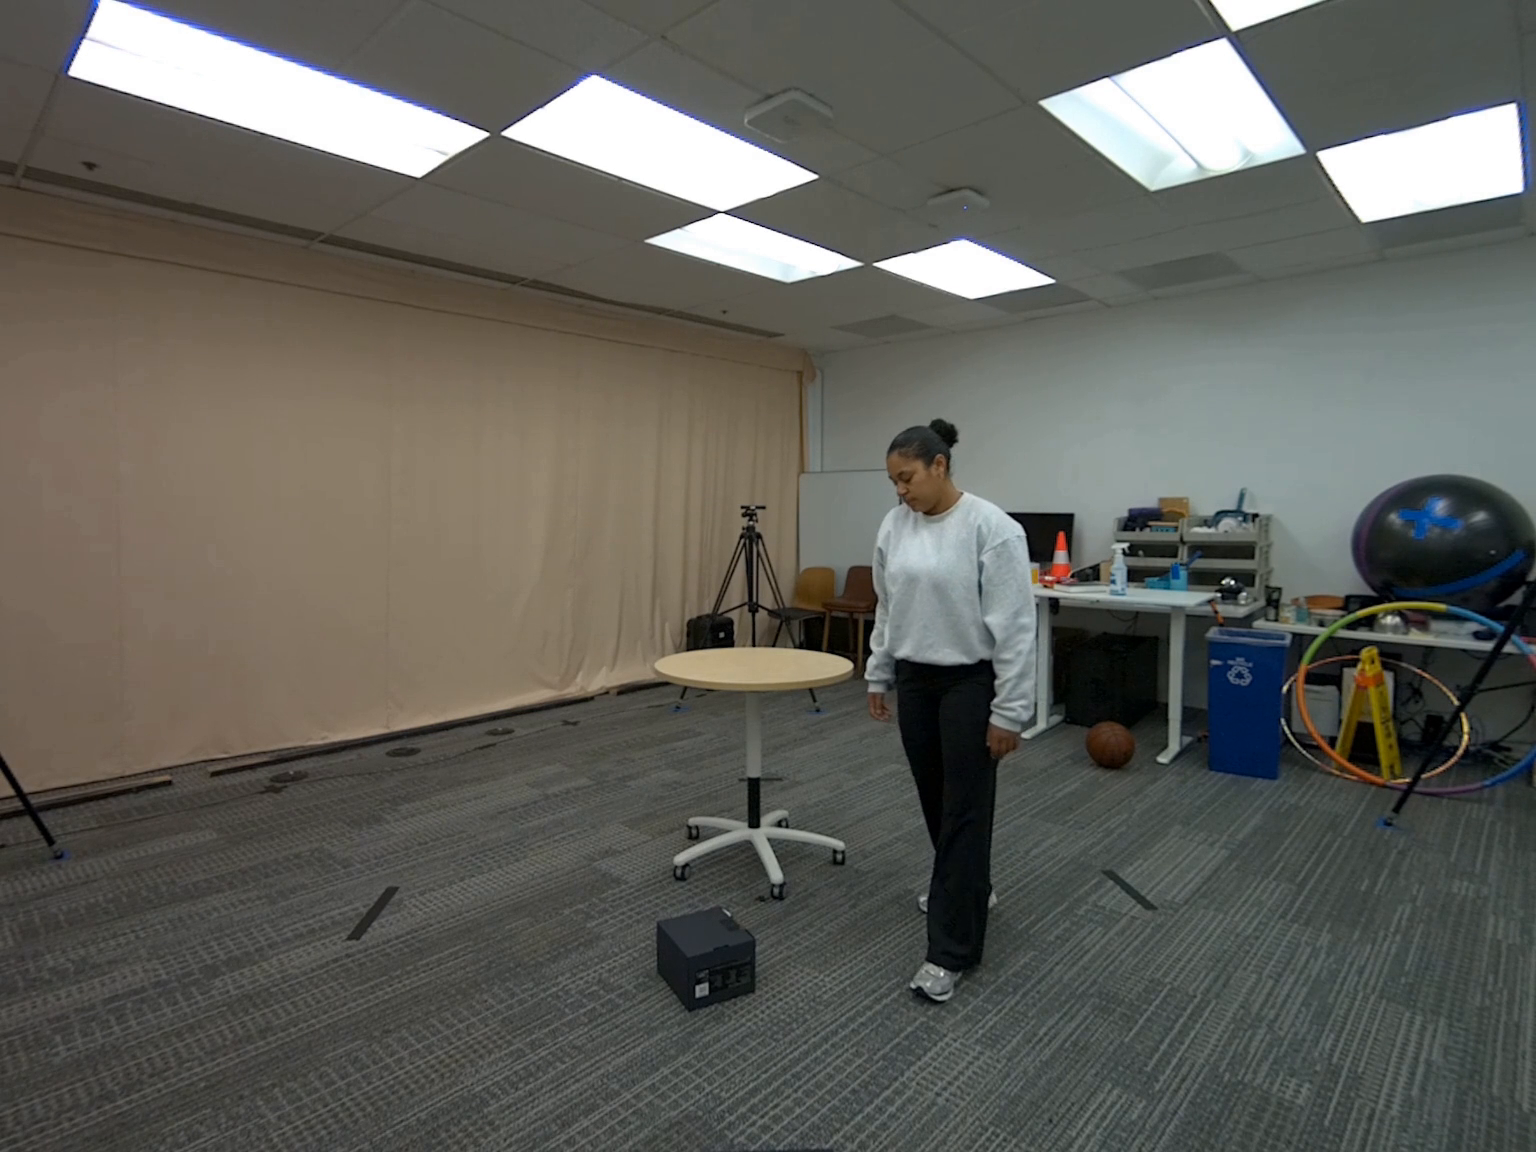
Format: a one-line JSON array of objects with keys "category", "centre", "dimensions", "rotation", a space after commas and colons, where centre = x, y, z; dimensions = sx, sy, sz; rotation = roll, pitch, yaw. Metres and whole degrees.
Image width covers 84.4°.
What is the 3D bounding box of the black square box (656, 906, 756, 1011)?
[{"category": "black square box", "centre": [-0.186, 1.114, 2.455], "dimensions": [0.211, 0.155, 0.234], "rotation": [-3, 5, -29]}]
